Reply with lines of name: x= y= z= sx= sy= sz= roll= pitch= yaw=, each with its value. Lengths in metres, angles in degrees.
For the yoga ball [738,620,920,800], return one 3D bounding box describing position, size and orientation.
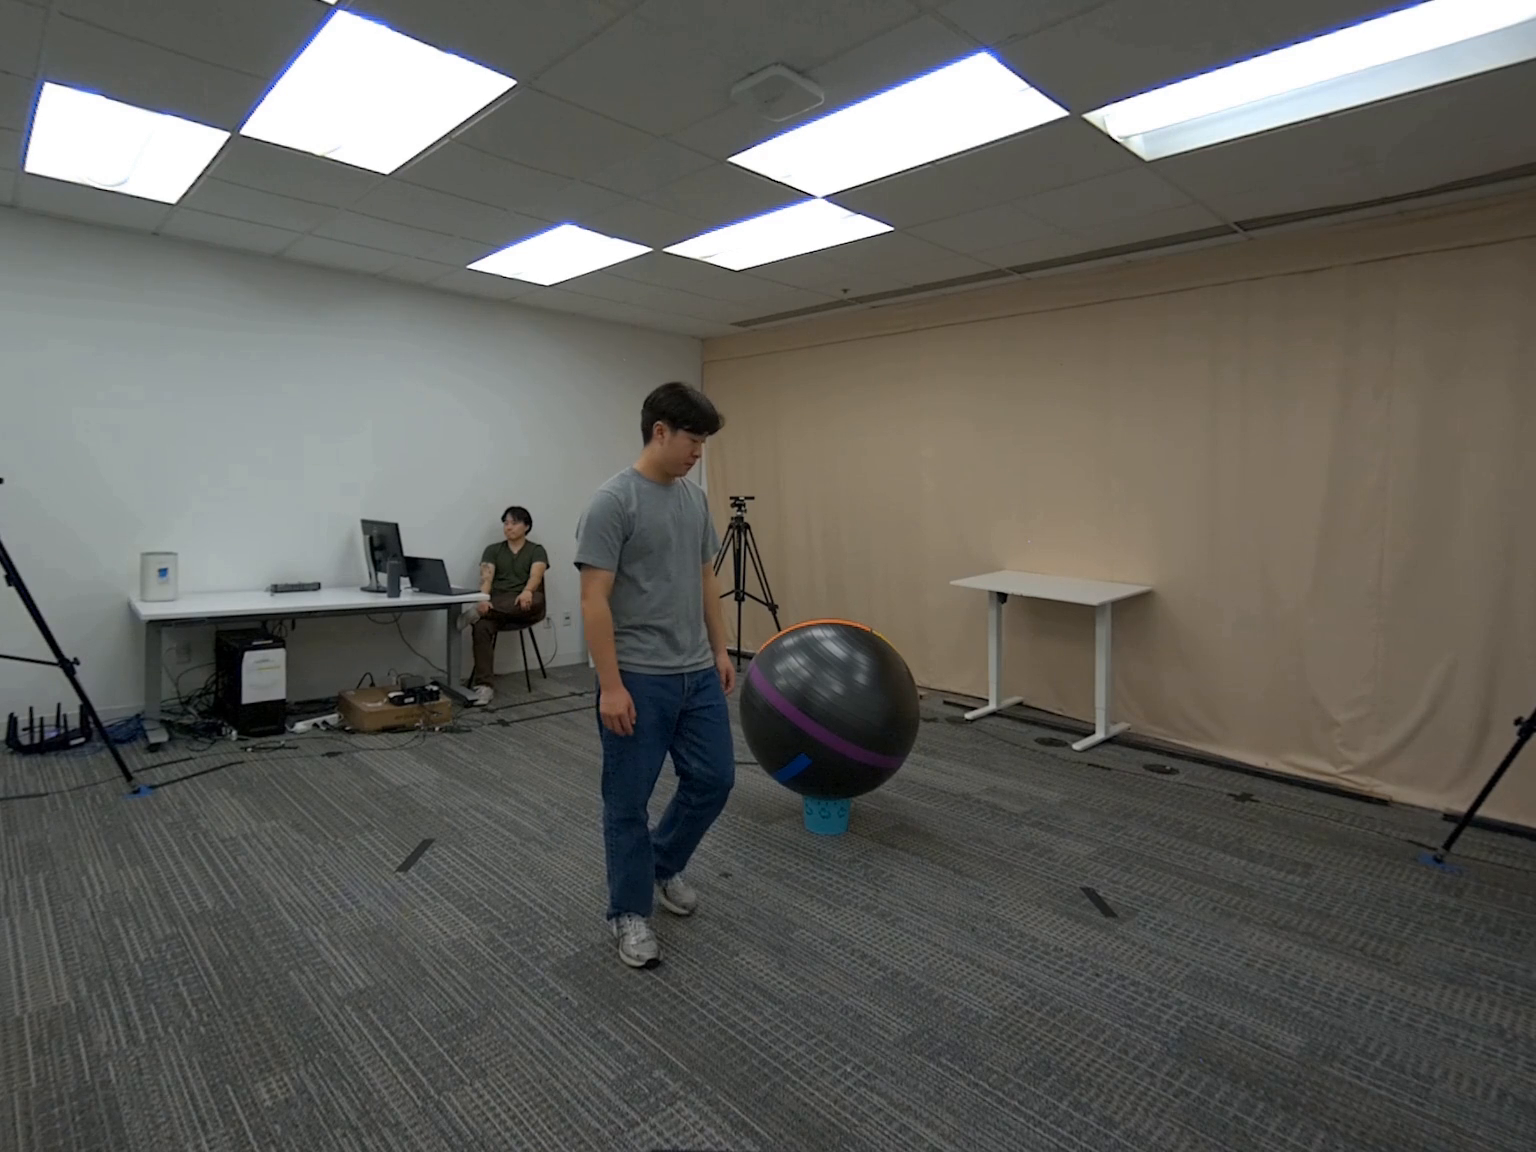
yoga ball: x=0.261 y=0.560 z=3.597 sx=0.757 sy=0.756 sz=0.761 roll=1 pitch=4 yaw=-1
